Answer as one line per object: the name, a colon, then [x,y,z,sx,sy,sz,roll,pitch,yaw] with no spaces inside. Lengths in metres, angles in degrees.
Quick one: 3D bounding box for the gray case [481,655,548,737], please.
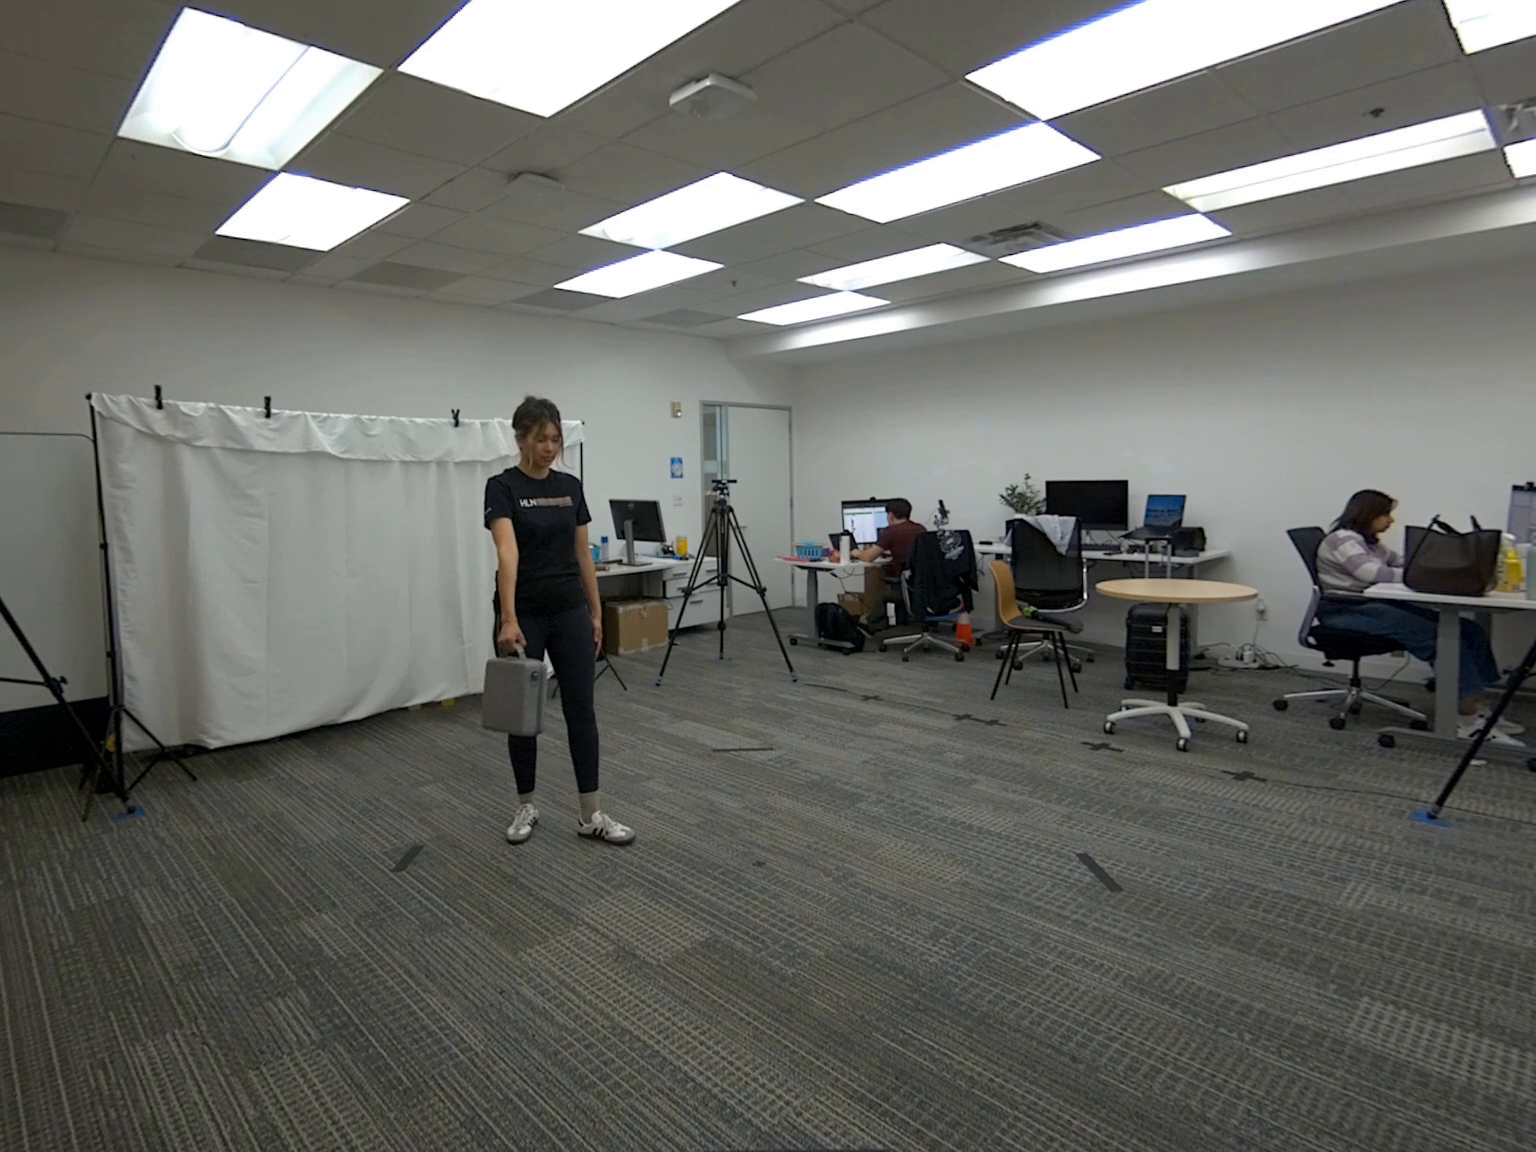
gray case: [-0.874,0.412,2.951,0.264,0.262,0.101,-4,-7,41]
